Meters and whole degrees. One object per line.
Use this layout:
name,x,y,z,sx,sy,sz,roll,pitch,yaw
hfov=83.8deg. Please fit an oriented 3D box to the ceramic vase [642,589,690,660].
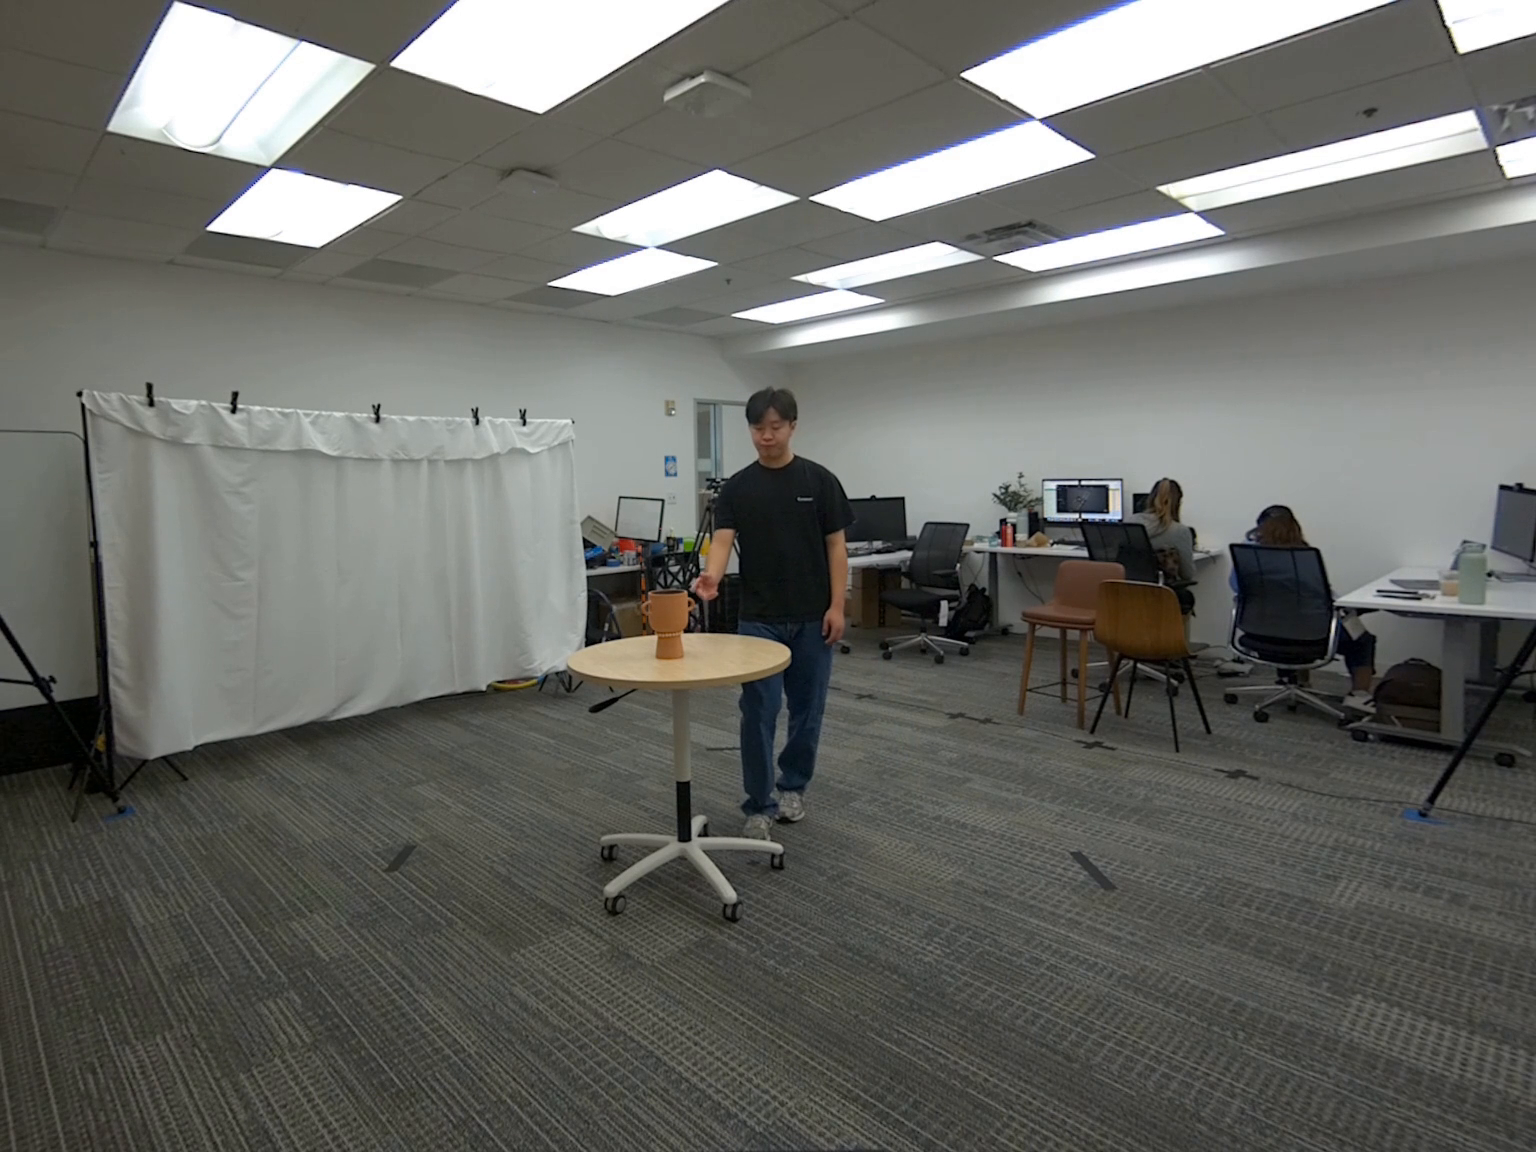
ceramic vase,-0.336,0.167,2.898,0.160,0.219,0.134,-1,5,7
